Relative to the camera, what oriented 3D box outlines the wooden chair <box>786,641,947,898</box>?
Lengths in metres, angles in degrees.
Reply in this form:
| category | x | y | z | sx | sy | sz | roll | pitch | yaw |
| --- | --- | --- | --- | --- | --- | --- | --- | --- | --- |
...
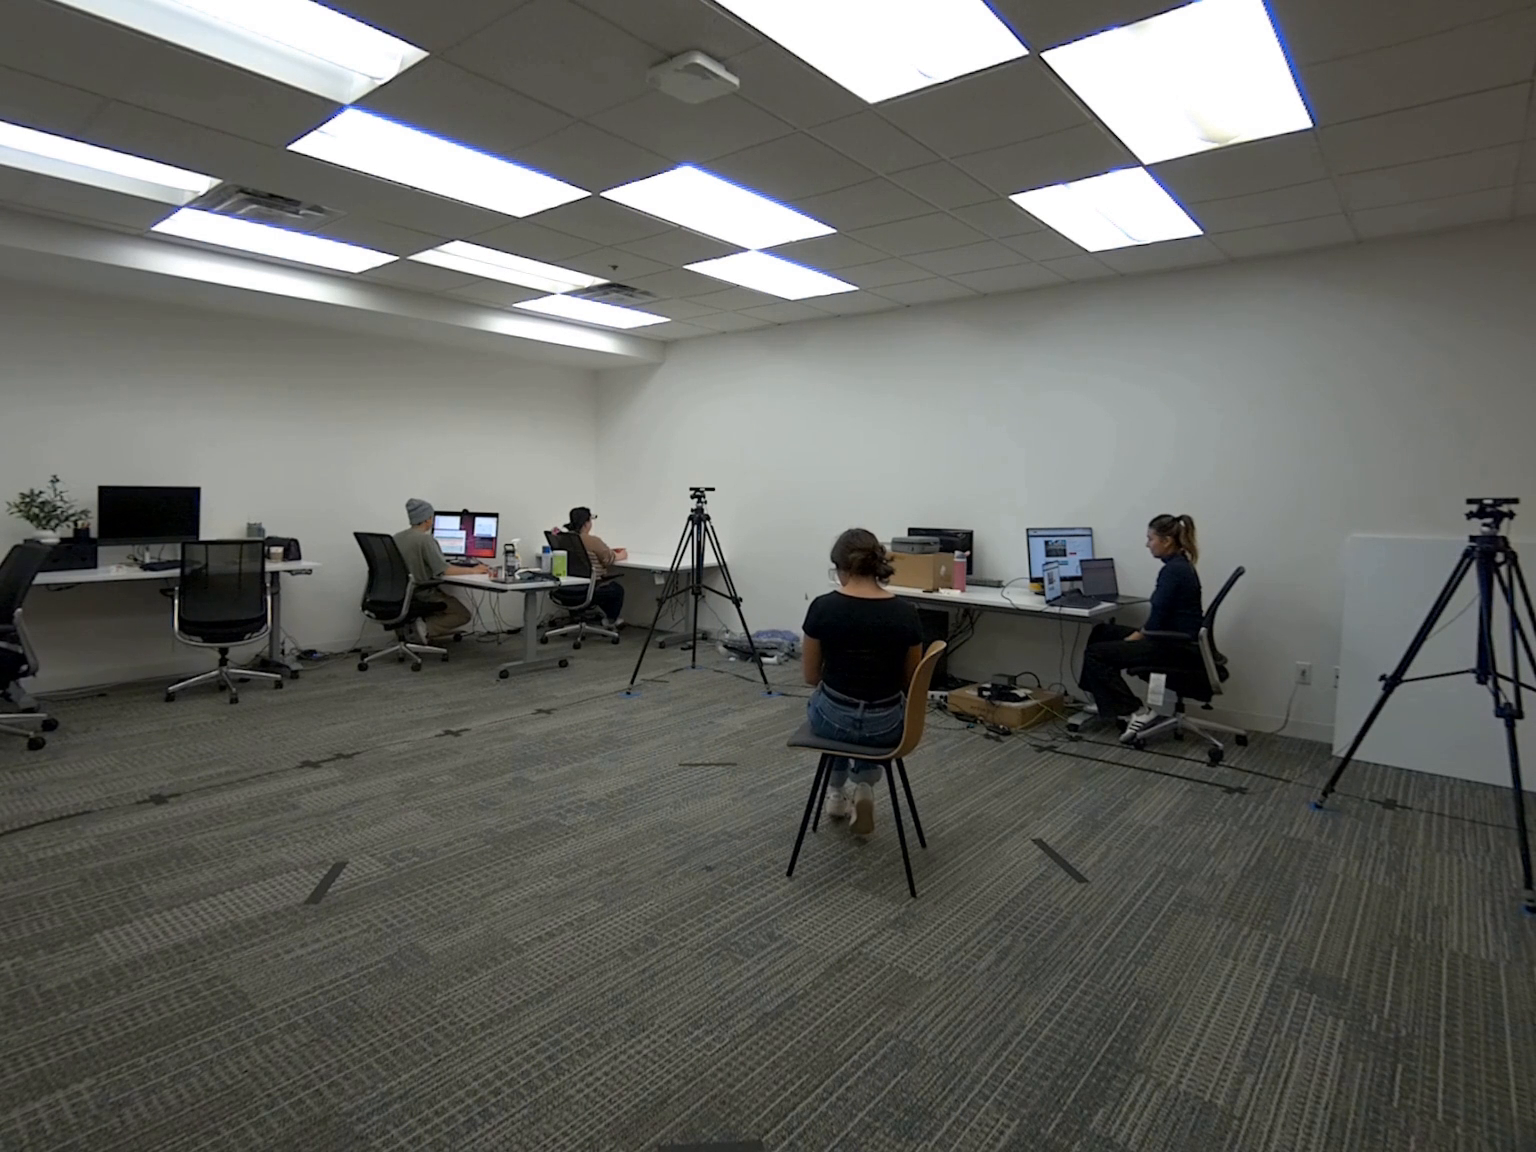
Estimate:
| category | x | y | z | sx | sy | sz | roll | pitch | yaw |
| --- | --- | --- | --- | --- | --- | --- | --- | --- | --- |
| wooden chair | 0.342 | 0.649 | 3.172 | 0.534 | 0.875 | 0.470 | 6 | 3 | 16 |
